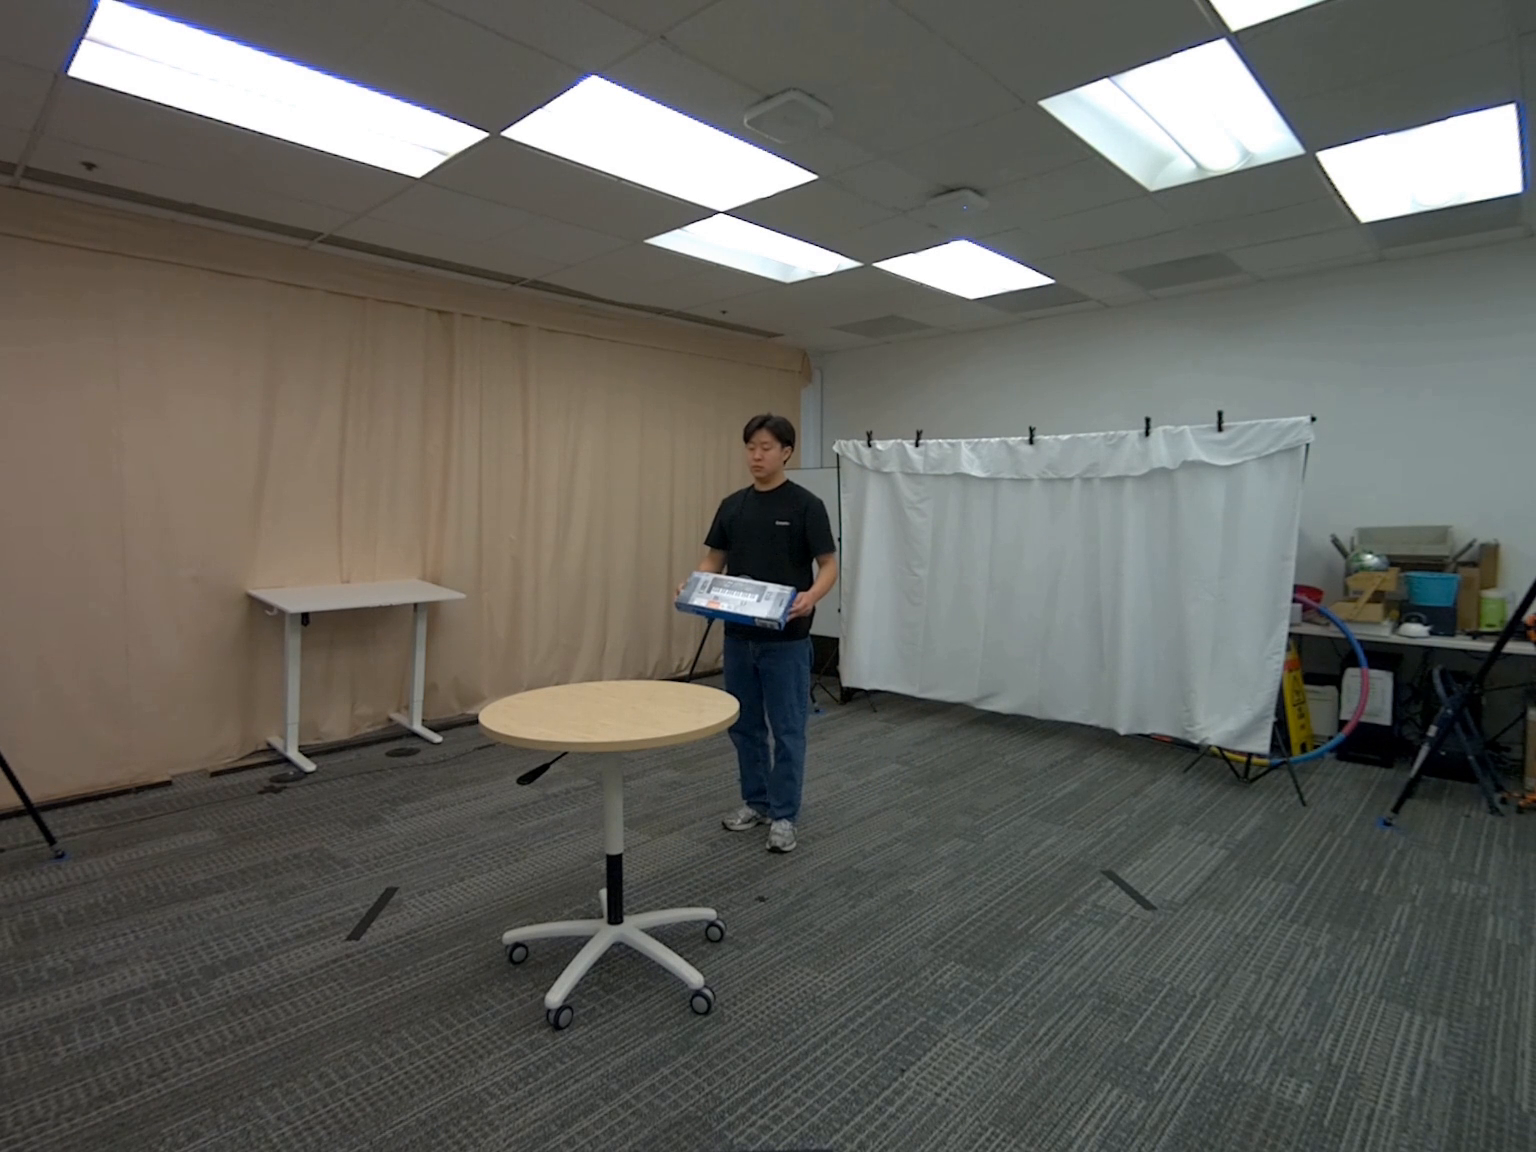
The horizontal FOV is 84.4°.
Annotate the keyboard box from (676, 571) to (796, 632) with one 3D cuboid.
[{"bbox_3d":[-0.122,0.093,3.234,0.448,0.057,0.176,10,51,24],"label":"keyboard box"}]
